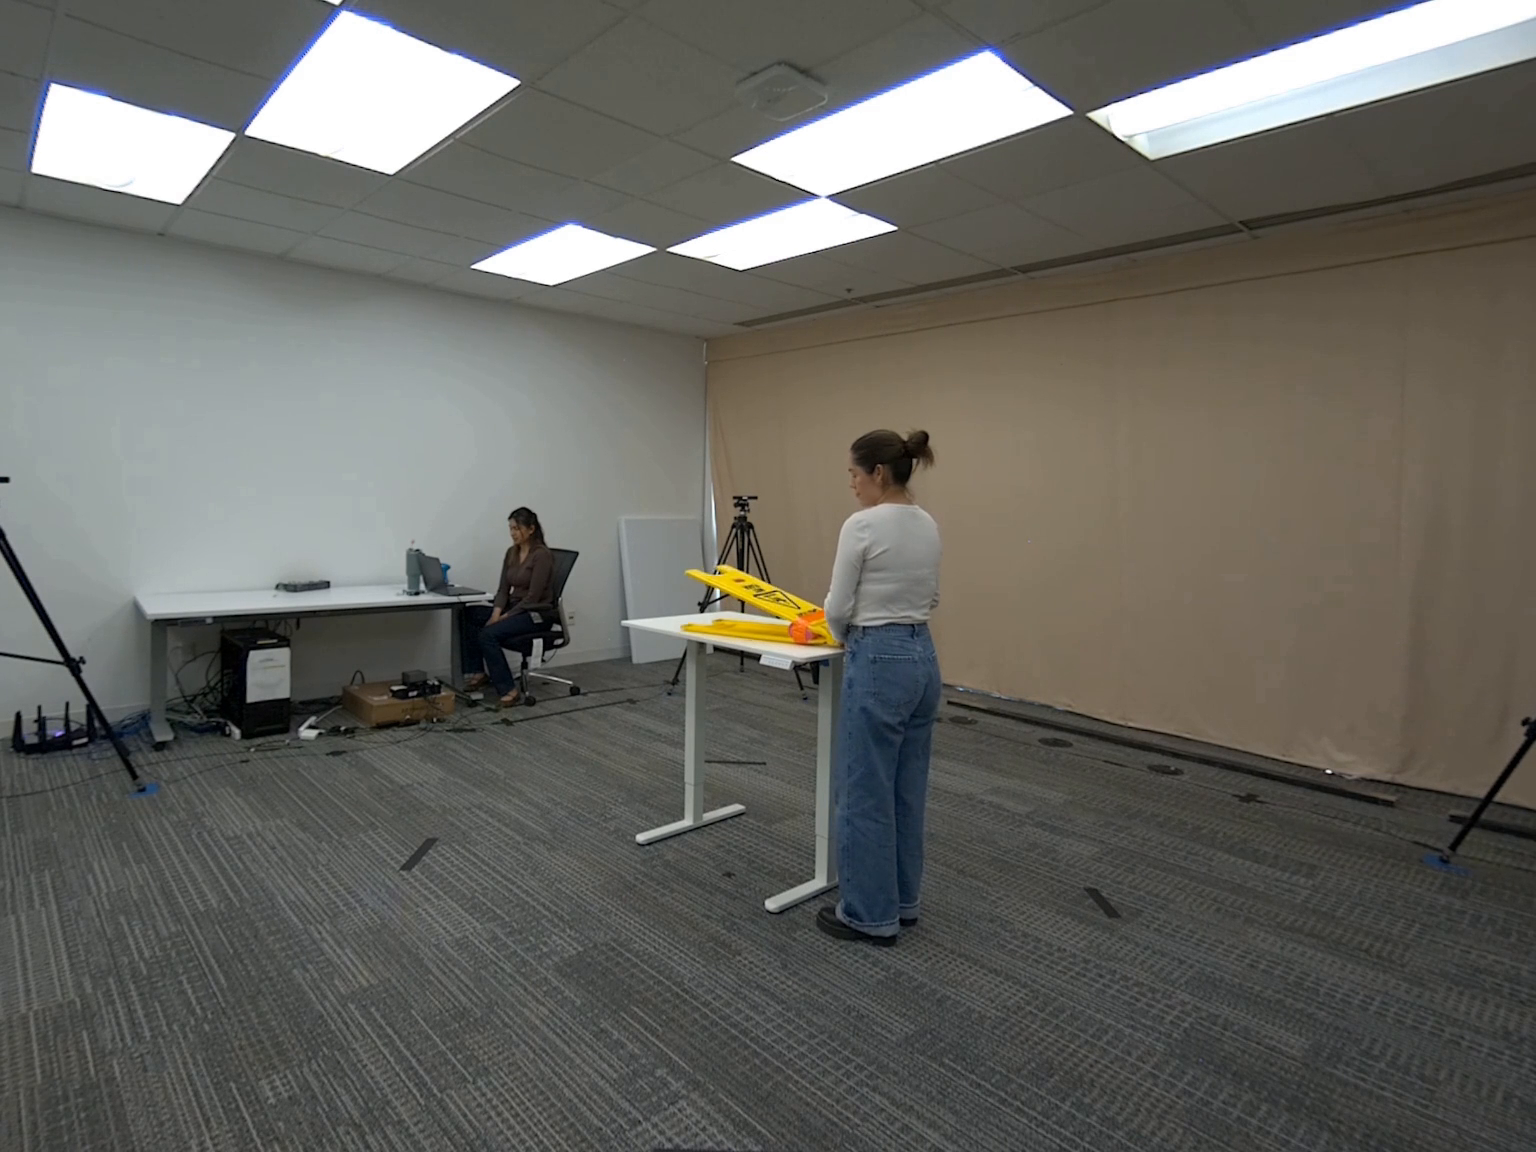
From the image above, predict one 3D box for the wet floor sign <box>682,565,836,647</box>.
[{"bbox_3d":[0.020,0.159,3.100,0.663,0.288,0.277,13,12,33],"label":"wet floor sign"}]
